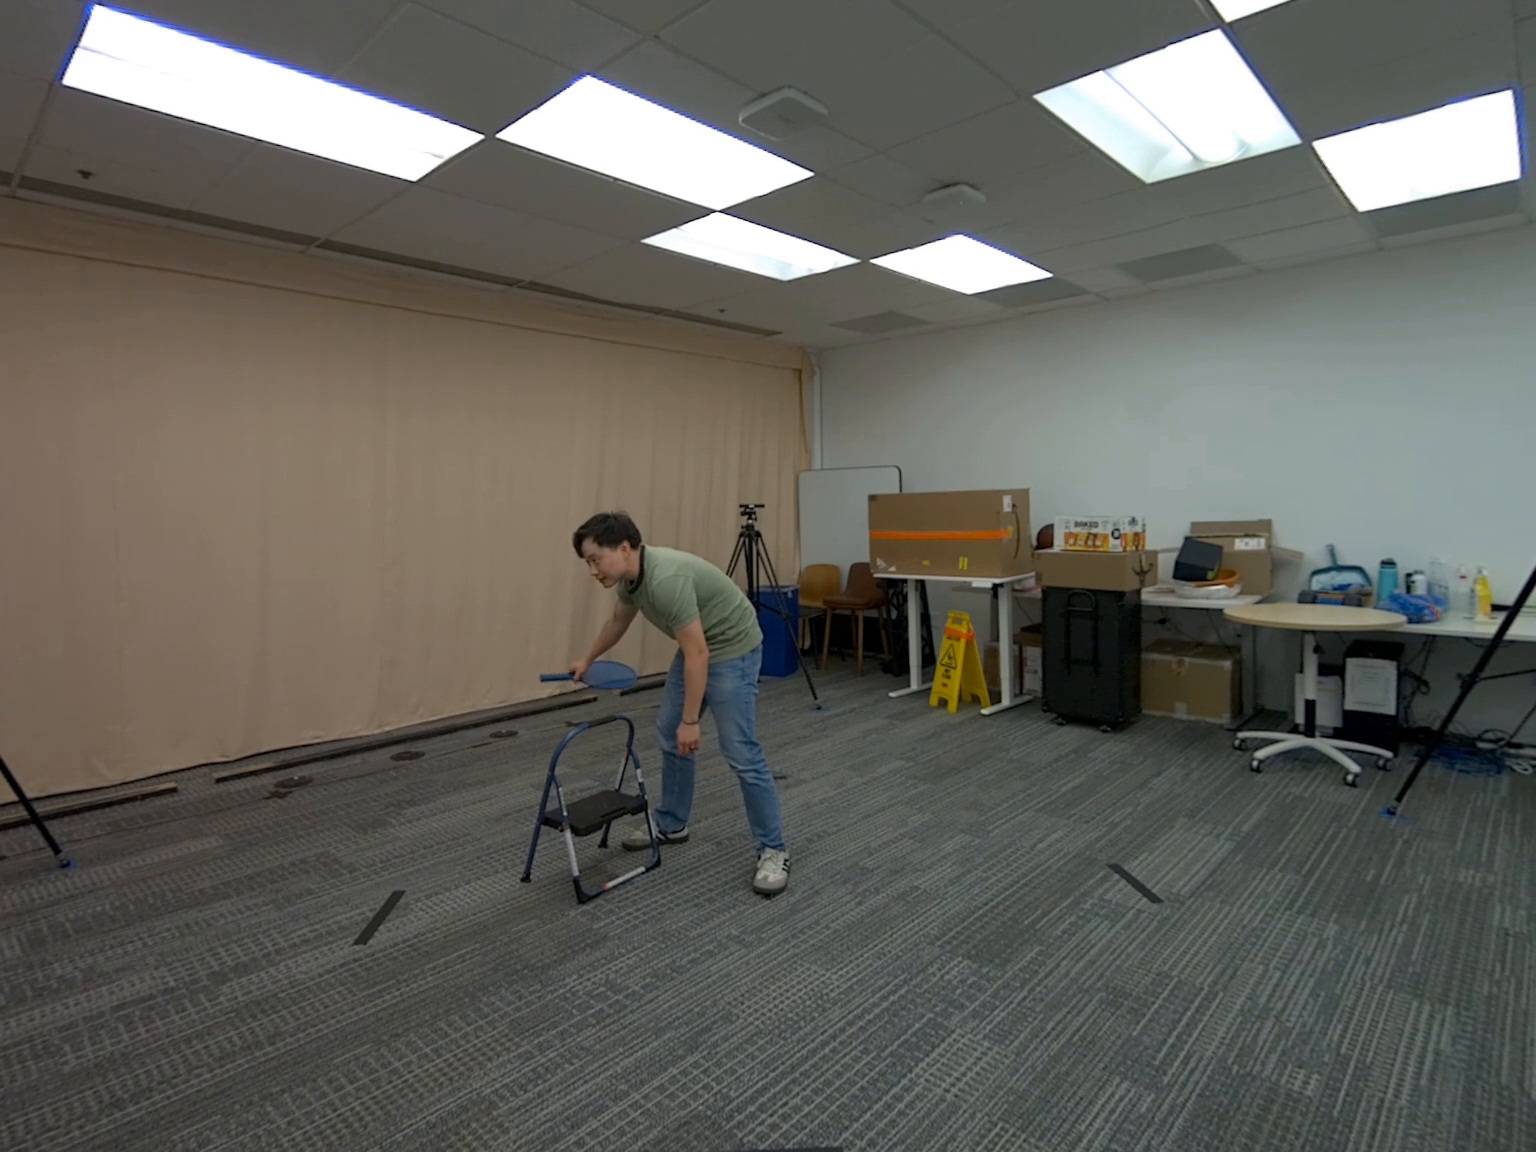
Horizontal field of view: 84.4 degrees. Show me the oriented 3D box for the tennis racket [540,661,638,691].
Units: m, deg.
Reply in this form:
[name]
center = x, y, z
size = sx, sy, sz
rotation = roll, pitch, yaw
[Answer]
[tennis racket]
center = -0.777, 0.440, 3.640
size = 0.424, 0.031, 0.220
rotation = 1, 24, -20
